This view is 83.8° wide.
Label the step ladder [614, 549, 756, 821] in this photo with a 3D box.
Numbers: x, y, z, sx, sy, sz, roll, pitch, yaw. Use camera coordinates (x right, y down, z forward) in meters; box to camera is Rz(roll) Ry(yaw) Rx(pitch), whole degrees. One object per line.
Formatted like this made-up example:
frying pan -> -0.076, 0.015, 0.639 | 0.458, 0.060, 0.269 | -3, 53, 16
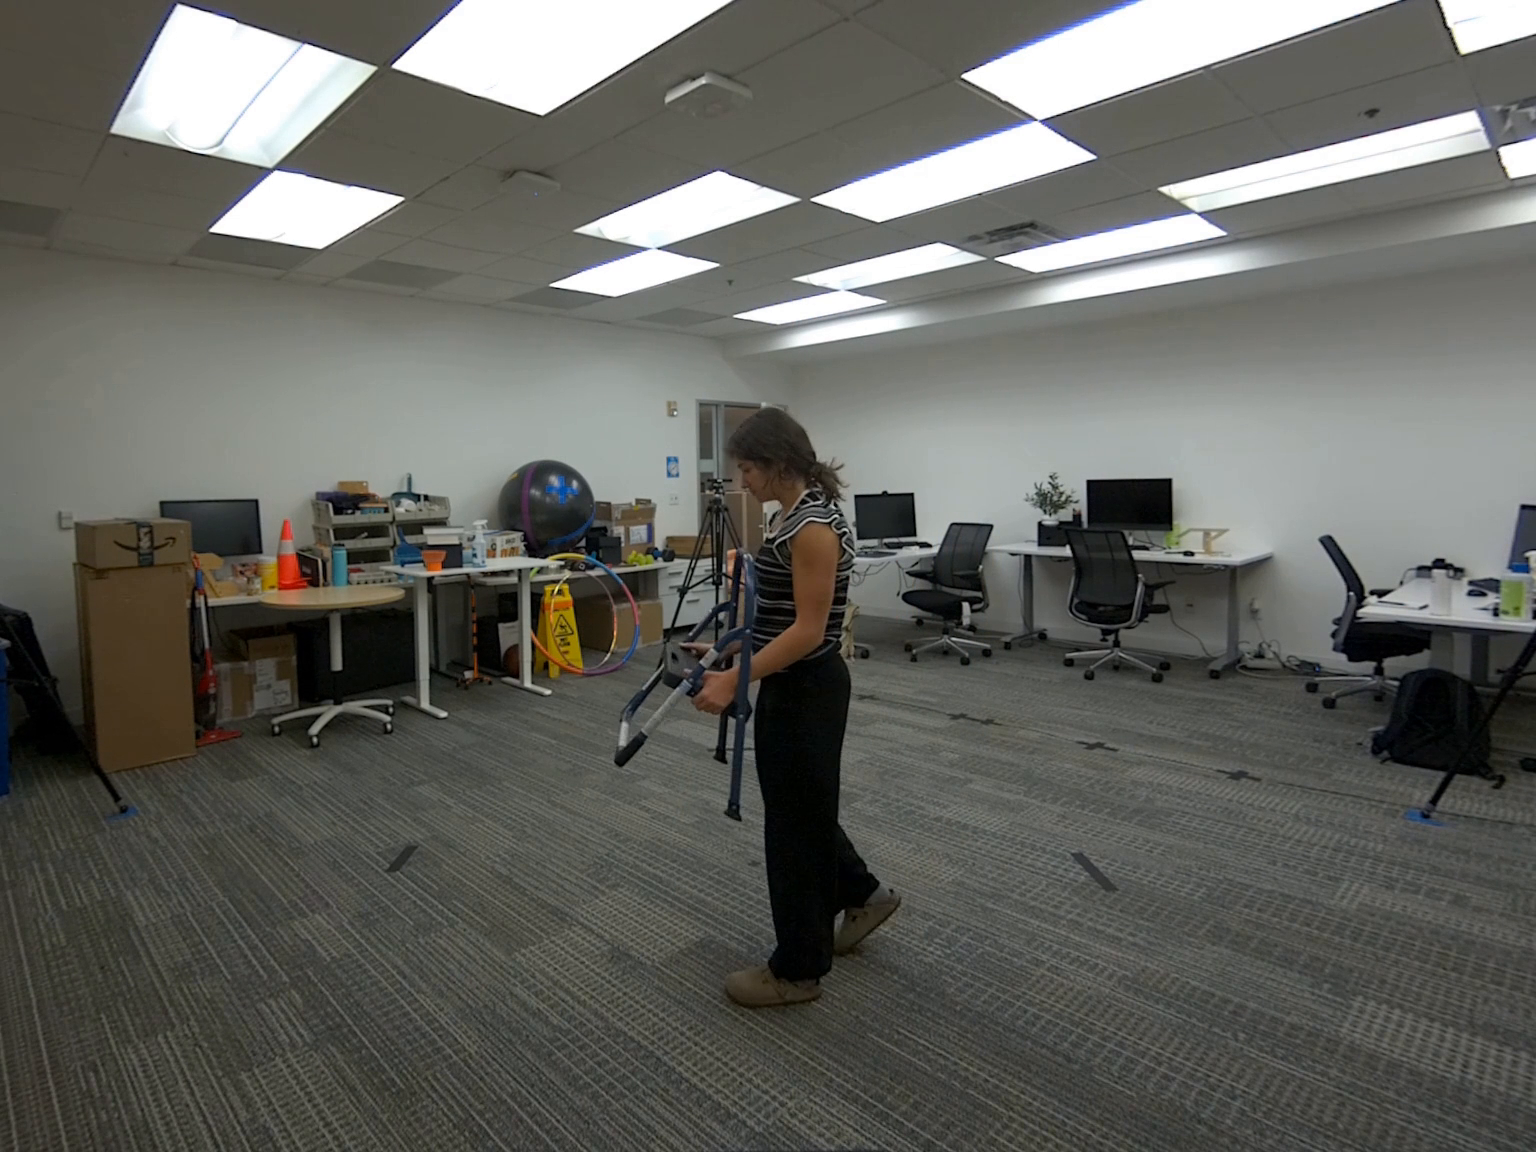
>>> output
step ladder -> -0.115, 0.234, 2.303 | 0.345, 0.605, 0.436 | 25, 3, -10
